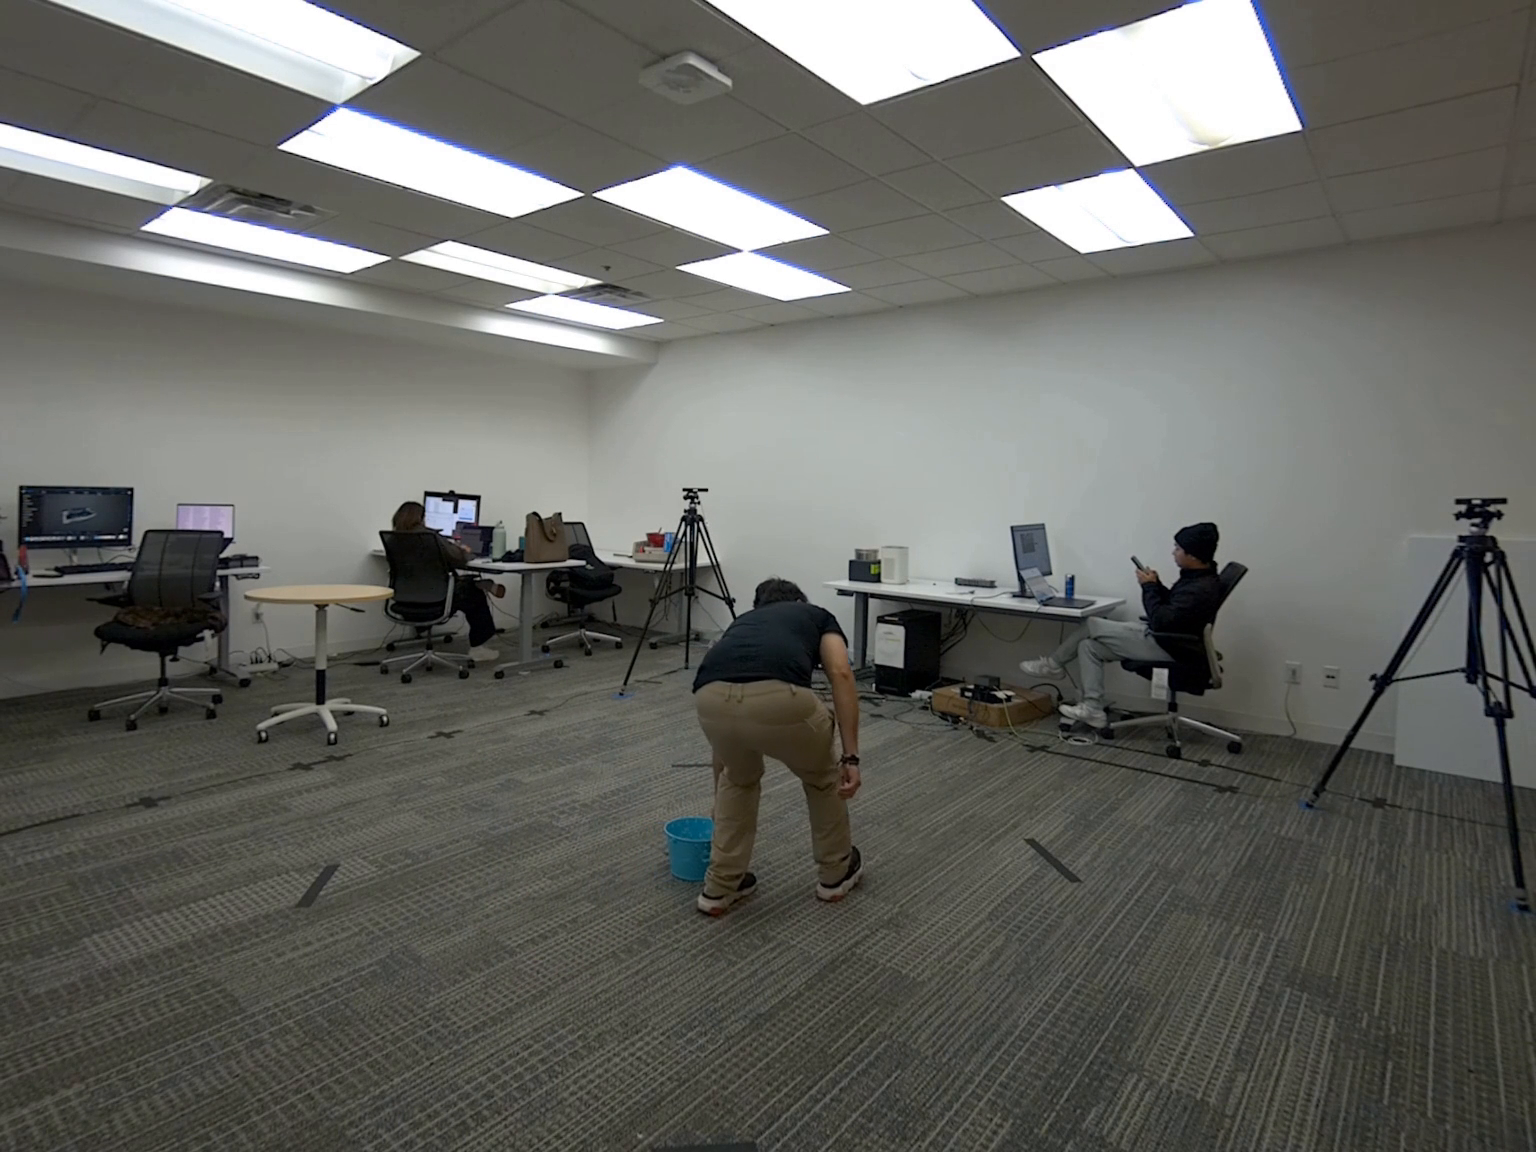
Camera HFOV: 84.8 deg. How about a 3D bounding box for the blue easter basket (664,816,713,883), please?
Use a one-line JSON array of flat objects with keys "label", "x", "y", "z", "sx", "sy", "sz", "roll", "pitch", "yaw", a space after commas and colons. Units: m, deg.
[{"label": "blue easter basket", "x": -0.274, "y": 0.990, "z": 3.105, "sx": 0.243, "sy": 0.155, "sz": 0.245, "roll": 2, "pitch": 4, "yaw": -2}]
